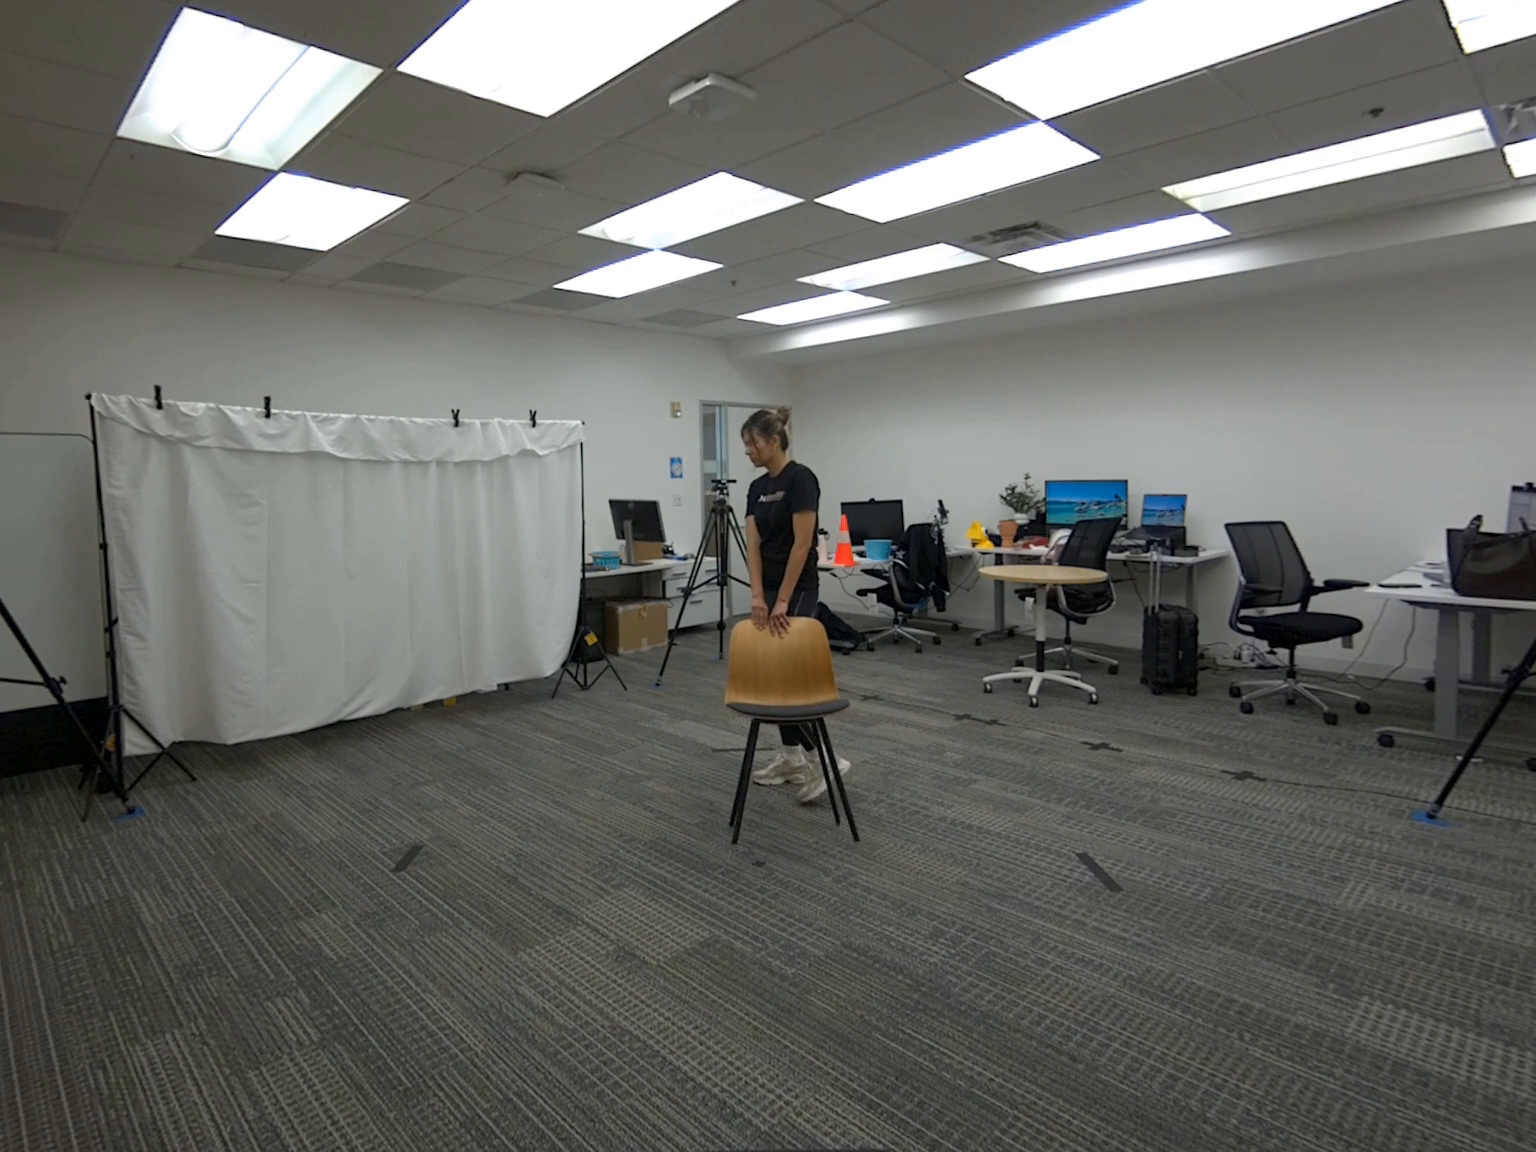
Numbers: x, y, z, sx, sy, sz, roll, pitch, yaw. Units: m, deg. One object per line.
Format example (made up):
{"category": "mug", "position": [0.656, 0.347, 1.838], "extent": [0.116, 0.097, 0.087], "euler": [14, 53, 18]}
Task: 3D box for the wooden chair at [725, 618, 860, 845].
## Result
{"category": "wooden chair", "position": [0.071, 0.557, 3.294], "extent": [0.477, 0.890, 0.517], "euler": [-1, -15, -3]}
